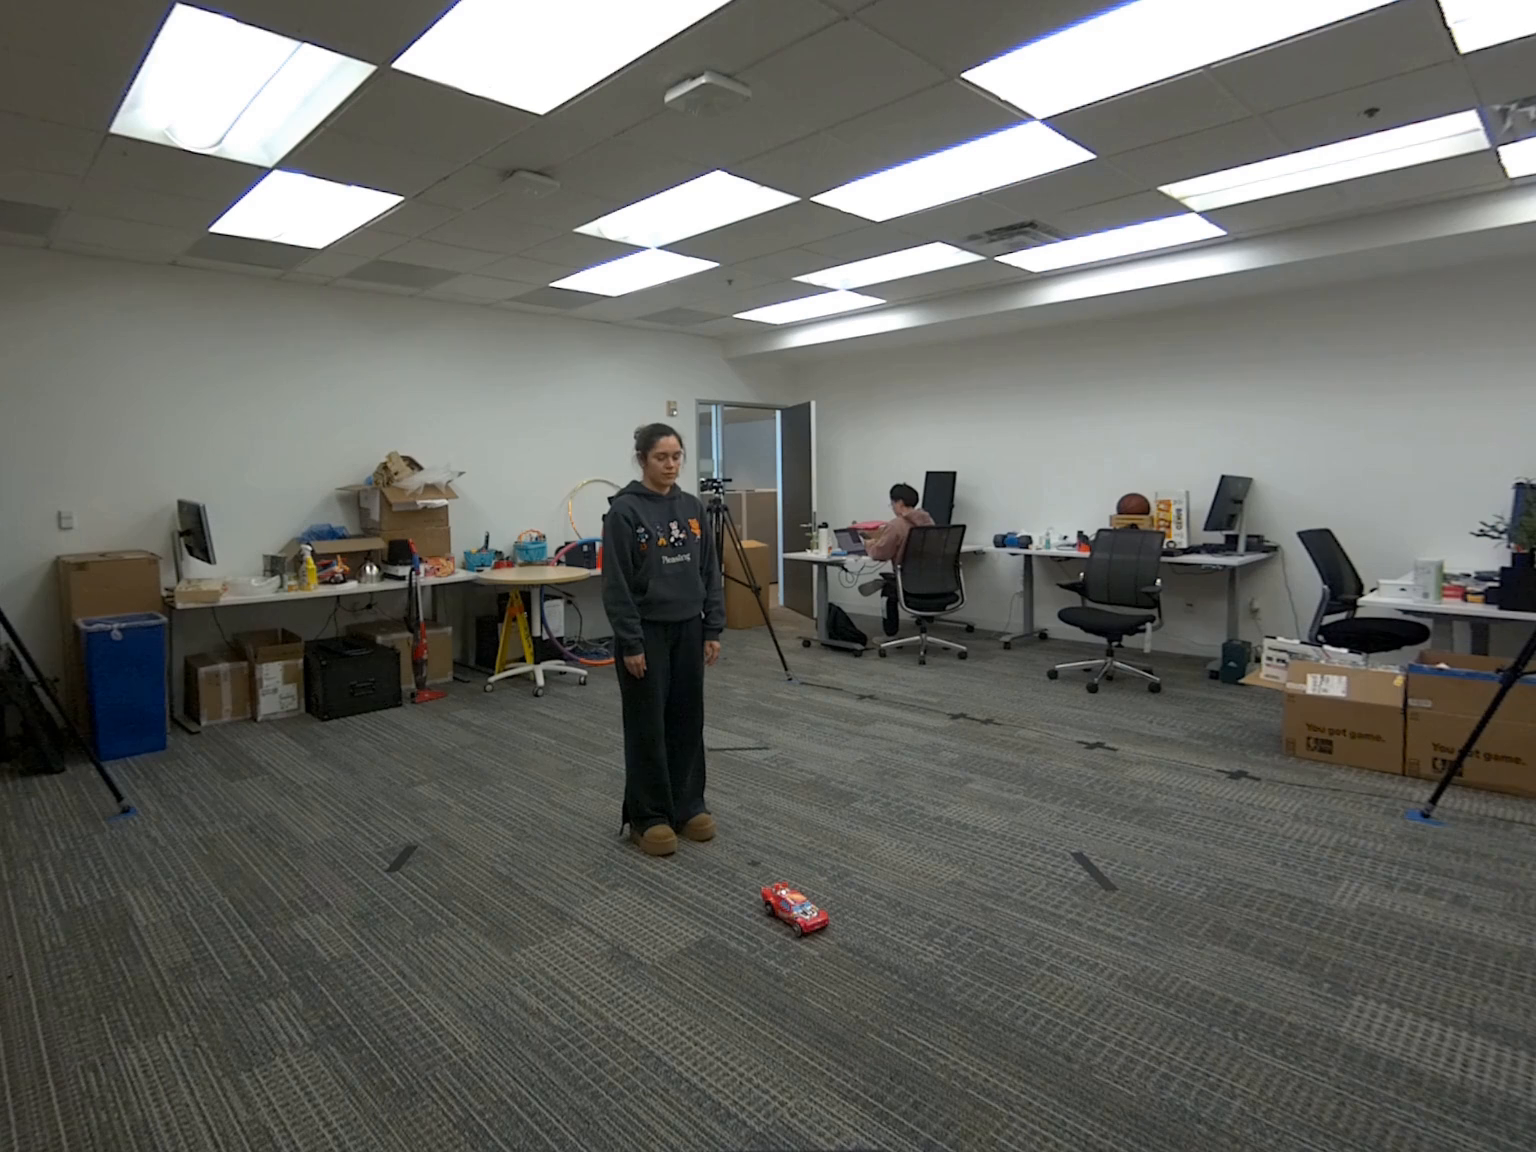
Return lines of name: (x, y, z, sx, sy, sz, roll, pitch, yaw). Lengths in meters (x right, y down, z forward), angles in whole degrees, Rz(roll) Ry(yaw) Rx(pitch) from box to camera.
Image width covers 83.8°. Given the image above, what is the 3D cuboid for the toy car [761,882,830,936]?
toy car: (0.081, 1.055, 2.699, 0.127, 0.082, 0.264, -5, 18, -33)
